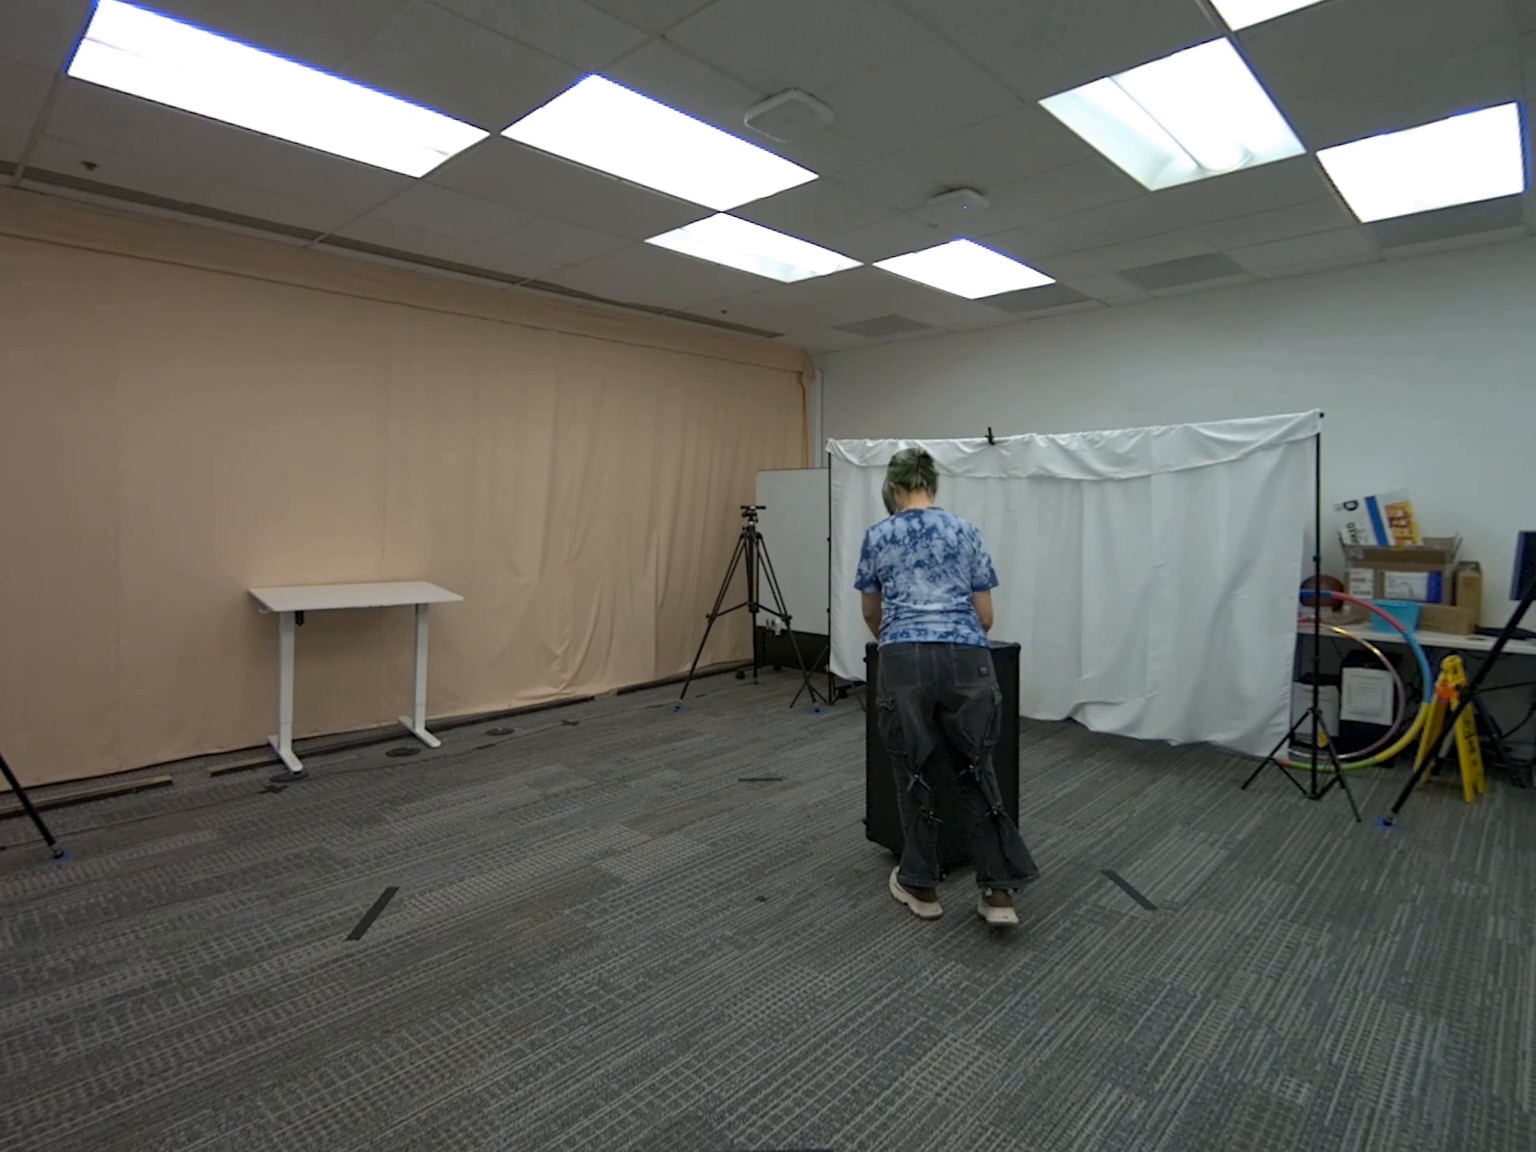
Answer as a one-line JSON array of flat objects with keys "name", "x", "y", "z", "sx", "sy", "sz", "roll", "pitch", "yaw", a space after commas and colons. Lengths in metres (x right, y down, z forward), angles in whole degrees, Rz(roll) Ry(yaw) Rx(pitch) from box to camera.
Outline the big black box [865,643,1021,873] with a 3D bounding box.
[{"name": "big black box", "x": 0.681, "y": 0.693, "z": 3.320, "sx": 0.506, "sy": 0.860, "sz": 0.408, "roll": -2, "pitch": 2, "yaw": -33}]
